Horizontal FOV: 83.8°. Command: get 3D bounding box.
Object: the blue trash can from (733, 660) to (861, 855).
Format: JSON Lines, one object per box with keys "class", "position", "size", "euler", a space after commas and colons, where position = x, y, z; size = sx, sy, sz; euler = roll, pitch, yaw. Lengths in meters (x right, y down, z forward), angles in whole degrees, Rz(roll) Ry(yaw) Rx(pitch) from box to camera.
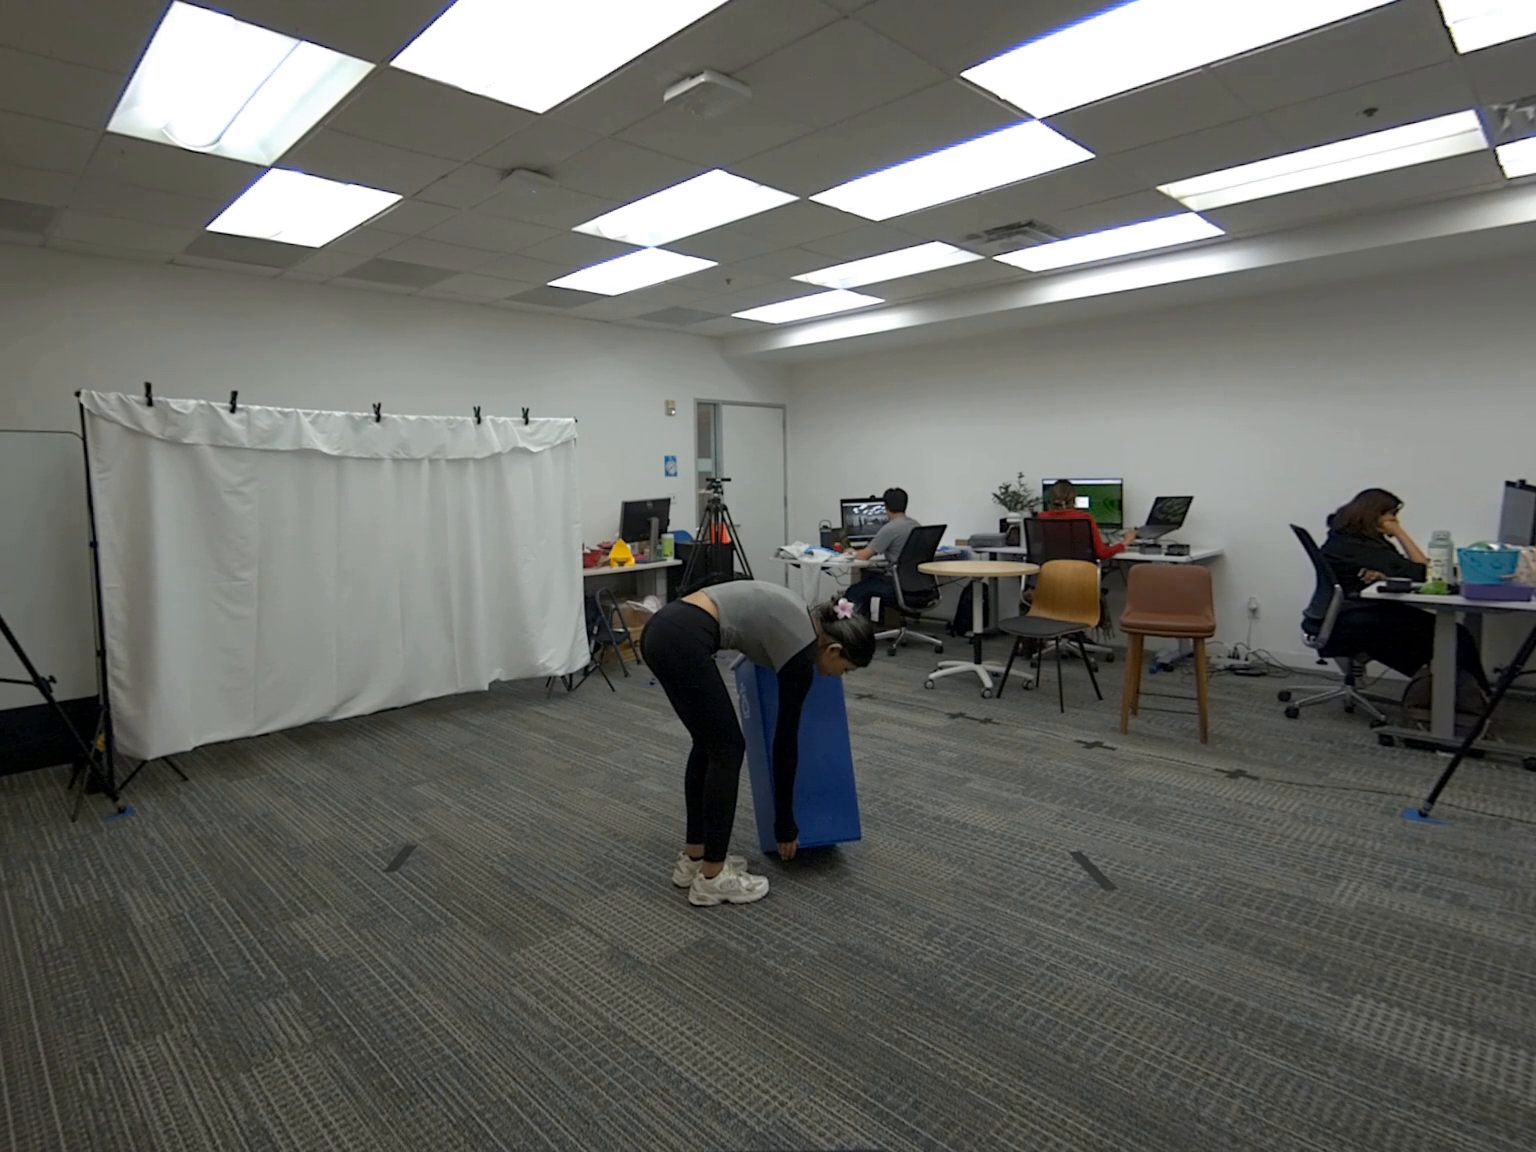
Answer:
{"class": "blue trash can", "position": [0.114, 0.638, 3.212], "size": [0.373, 0.727, 0.372], "euler": [-3, -20, -15]}
